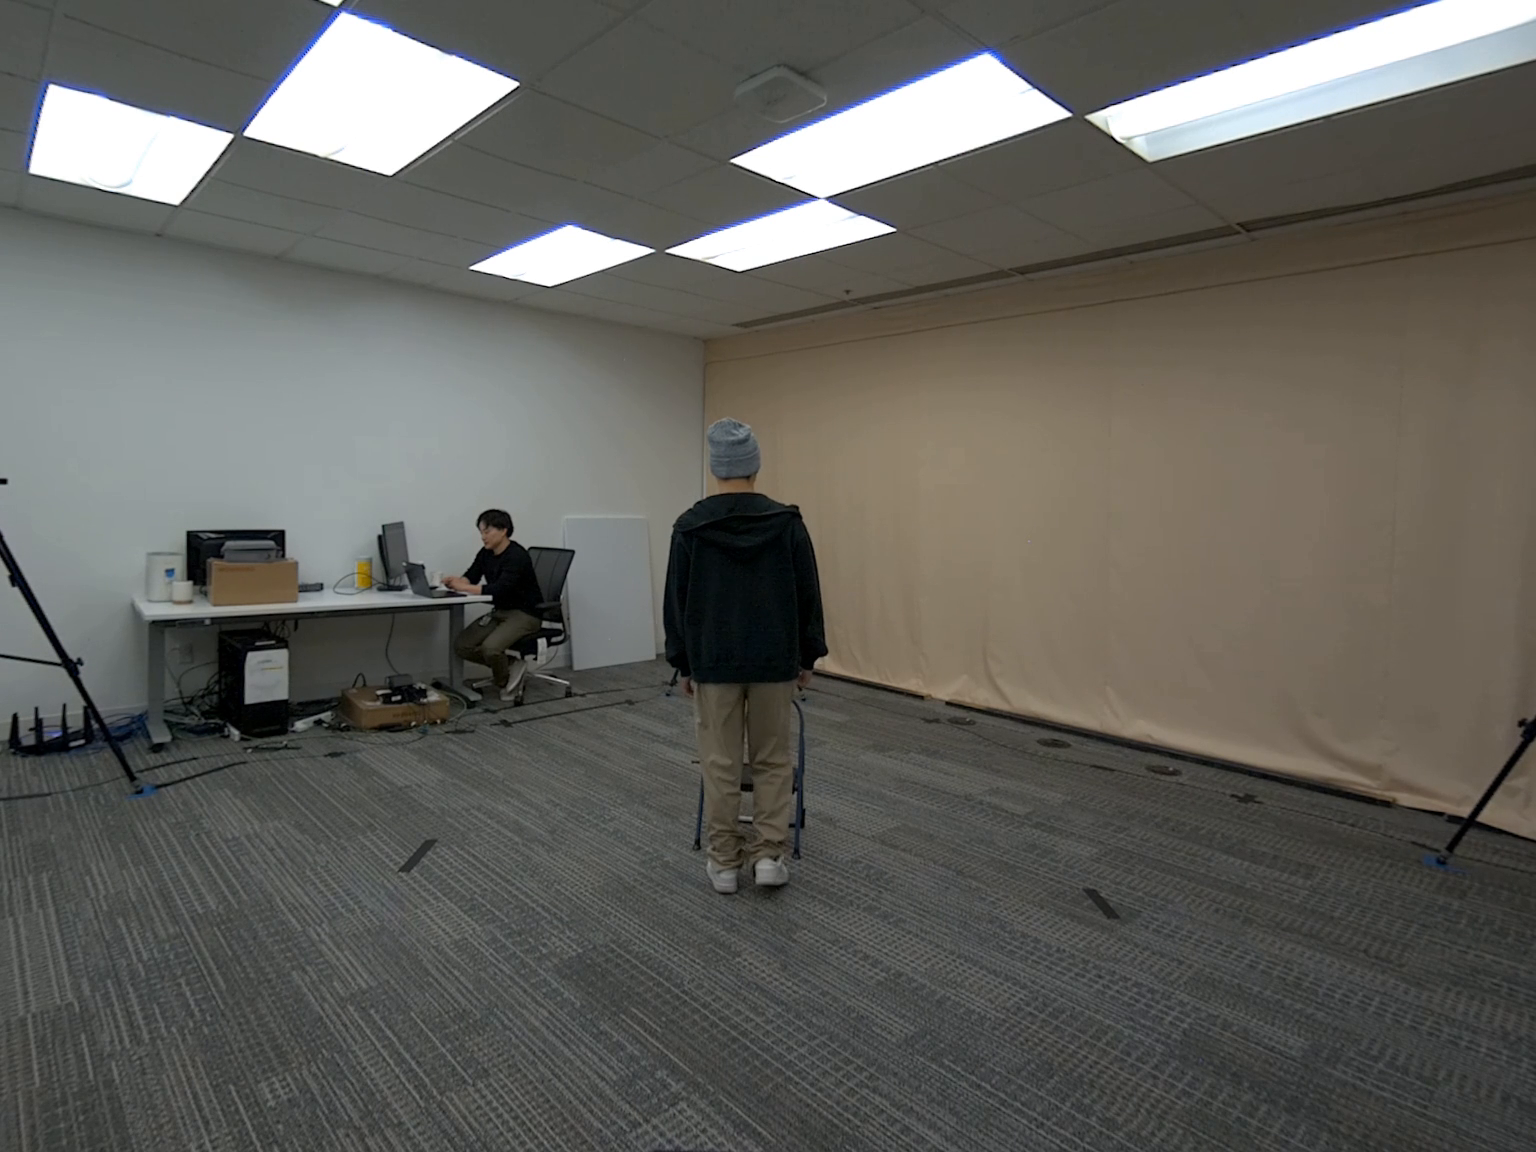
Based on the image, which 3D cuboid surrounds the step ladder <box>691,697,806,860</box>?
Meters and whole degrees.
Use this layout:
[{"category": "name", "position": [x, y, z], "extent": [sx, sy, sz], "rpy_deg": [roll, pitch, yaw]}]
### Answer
[{"category": "step ladder", "position": [-0.062, 0.779, 3.454], "extent": [0.433, 0.605, 0.348], "rpy_deg": [2, 3, 7]}]
